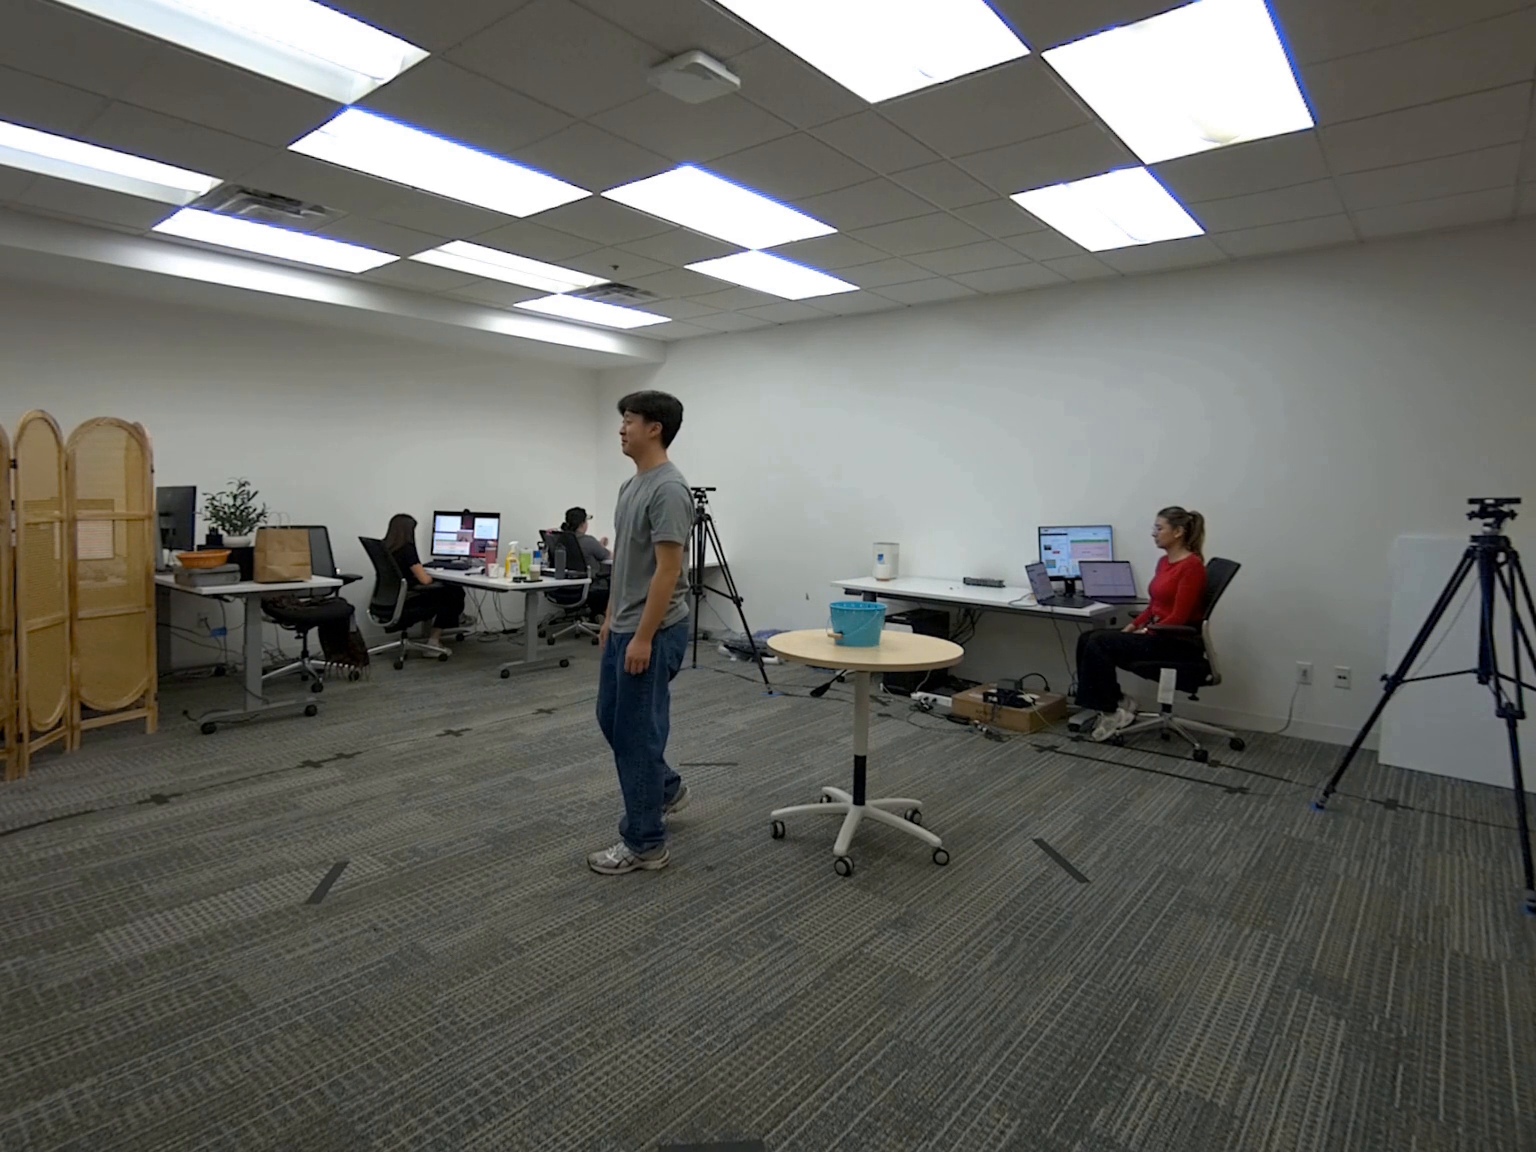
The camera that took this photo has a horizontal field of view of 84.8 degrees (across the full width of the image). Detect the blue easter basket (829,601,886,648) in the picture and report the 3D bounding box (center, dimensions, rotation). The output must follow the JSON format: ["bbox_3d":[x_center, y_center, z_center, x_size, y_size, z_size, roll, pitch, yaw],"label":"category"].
[{"bbox_3d":[0.344,0.192,3.407,0.243,0.155,0.245,1,4,-2],"label":"blue easter basket"}]
